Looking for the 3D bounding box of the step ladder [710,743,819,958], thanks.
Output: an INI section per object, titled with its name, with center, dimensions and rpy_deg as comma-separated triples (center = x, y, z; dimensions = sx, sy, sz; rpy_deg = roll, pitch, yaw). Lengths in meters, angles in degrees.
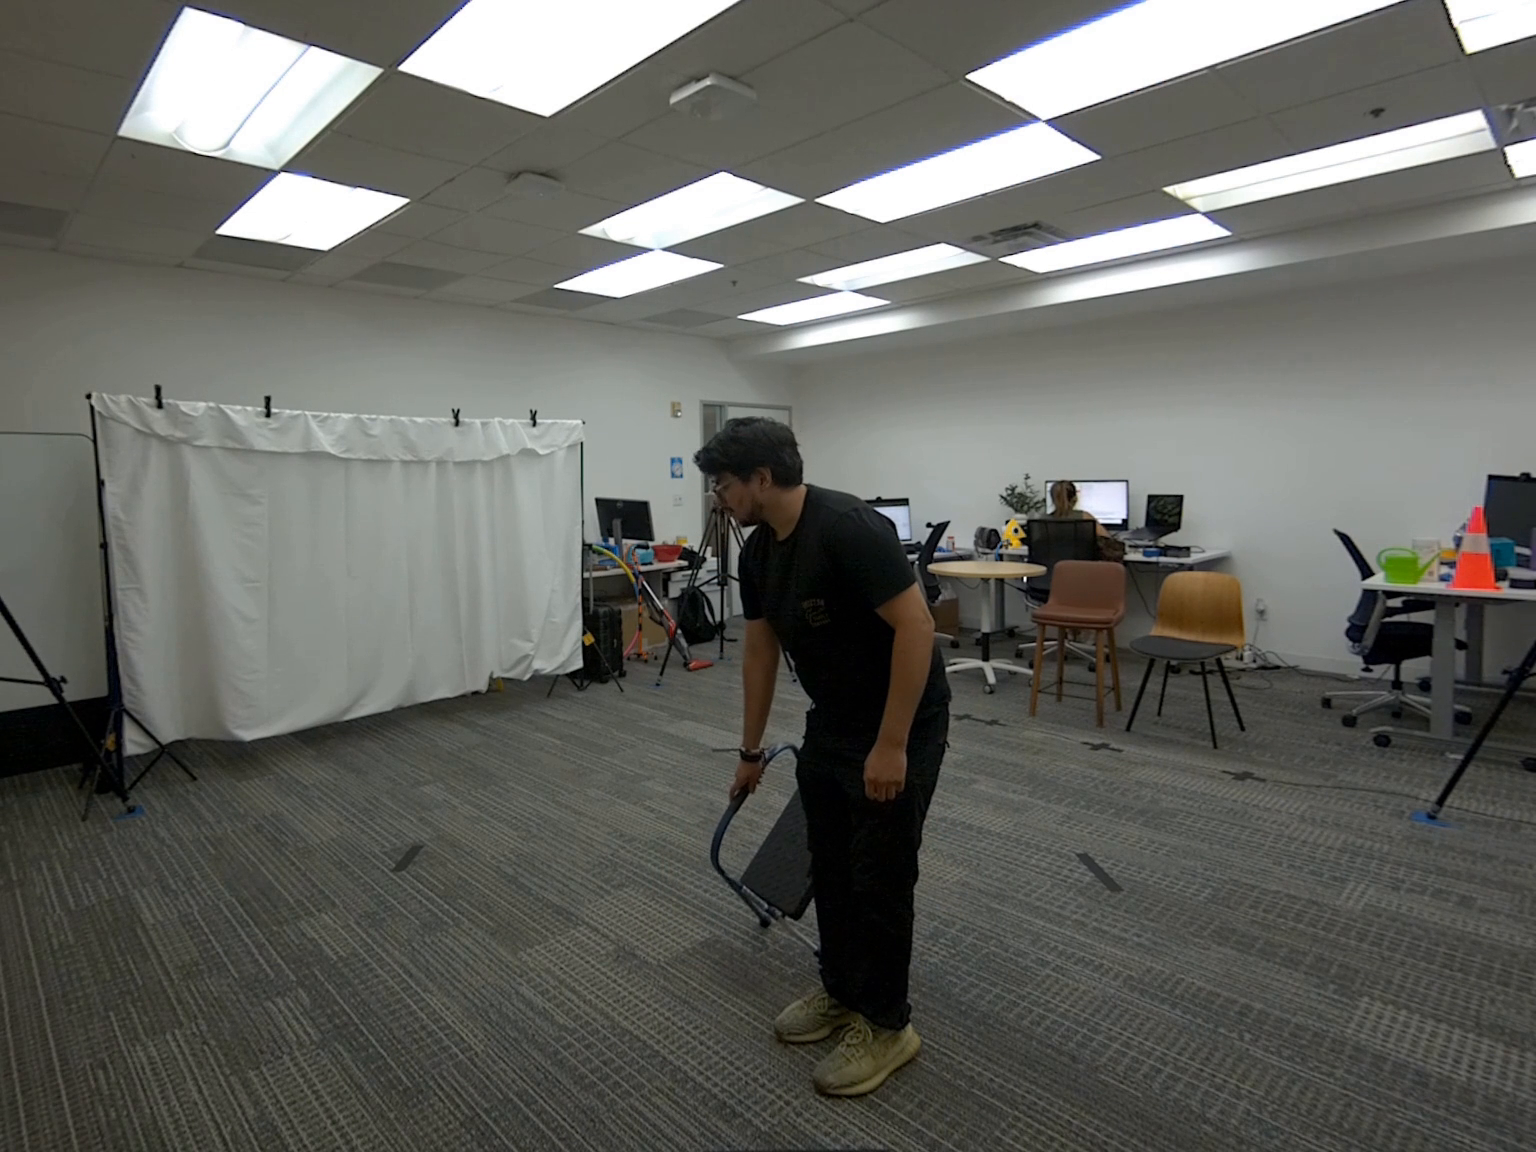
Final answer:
[step ladder]
center = 0.047, 0.758, 2.492
dimensions = 0.360, 0.432, 0.586
rpy_deg = 6, -37, 50
